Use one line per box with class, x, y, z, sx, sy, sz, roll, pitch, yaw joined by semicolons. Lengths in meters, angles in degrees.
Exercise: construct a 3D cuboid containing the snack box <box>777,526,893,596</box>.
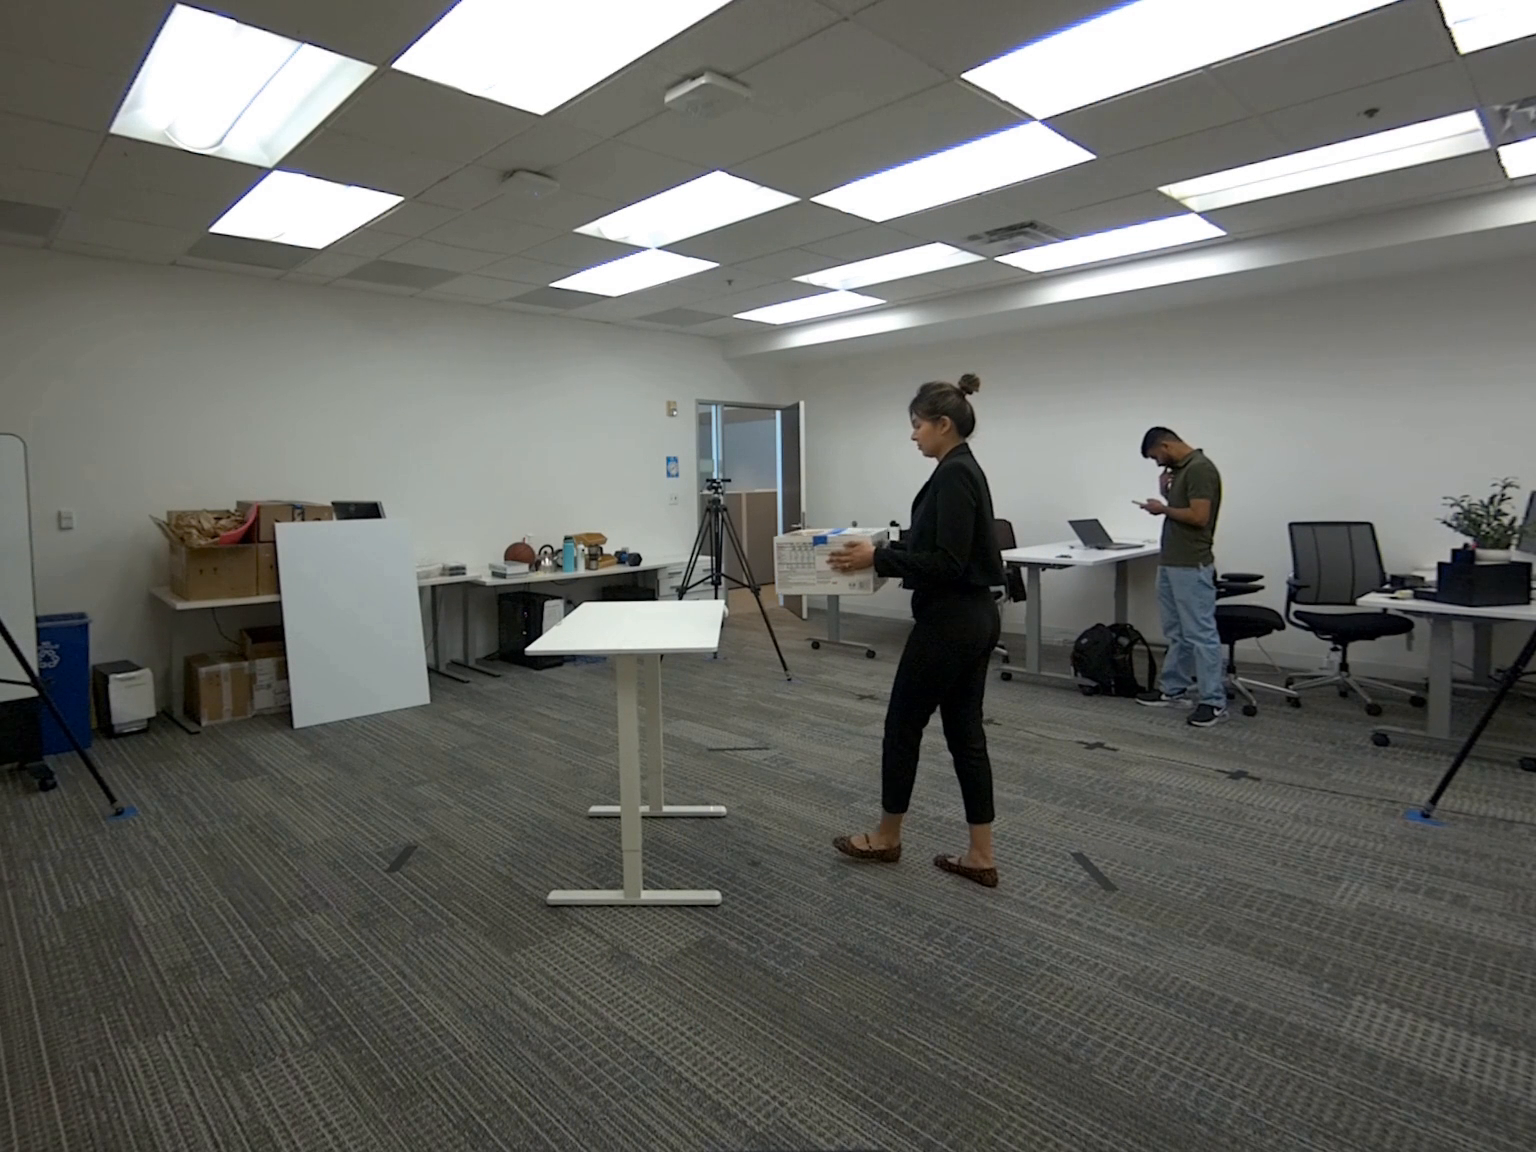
snack box;0.248;-0.062;3.073;0.345;0.205;0.401;-1;6;15
